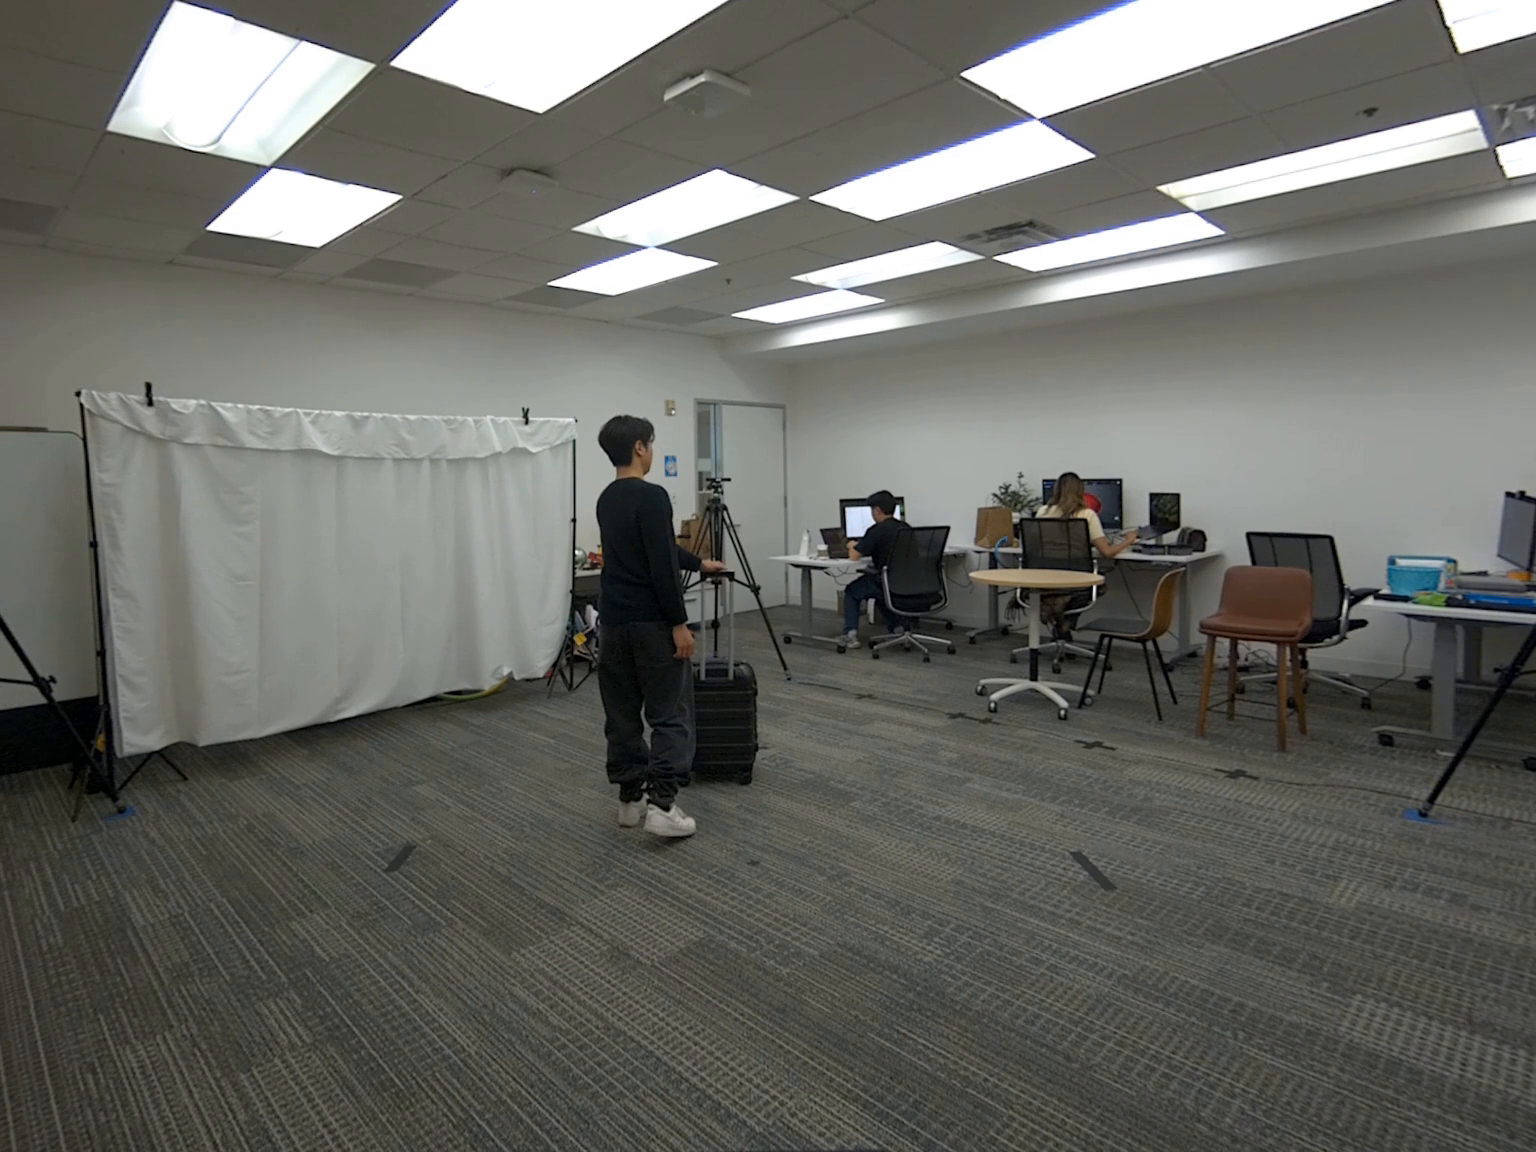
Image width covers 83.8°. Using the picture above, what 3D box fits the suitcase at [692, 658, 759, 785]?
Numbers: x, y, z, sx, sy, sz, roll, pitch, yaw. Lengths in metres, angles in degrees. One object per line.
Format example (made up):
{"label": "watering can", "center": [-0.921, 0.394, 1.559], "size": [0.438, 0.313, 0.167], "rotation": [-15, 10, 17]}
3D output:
{"label": "suitcase", "center": [-0.236, 0.470, 4.019], "size": [0.385, 0.978, 0.256], "rotation": [0, 0, 2]}
